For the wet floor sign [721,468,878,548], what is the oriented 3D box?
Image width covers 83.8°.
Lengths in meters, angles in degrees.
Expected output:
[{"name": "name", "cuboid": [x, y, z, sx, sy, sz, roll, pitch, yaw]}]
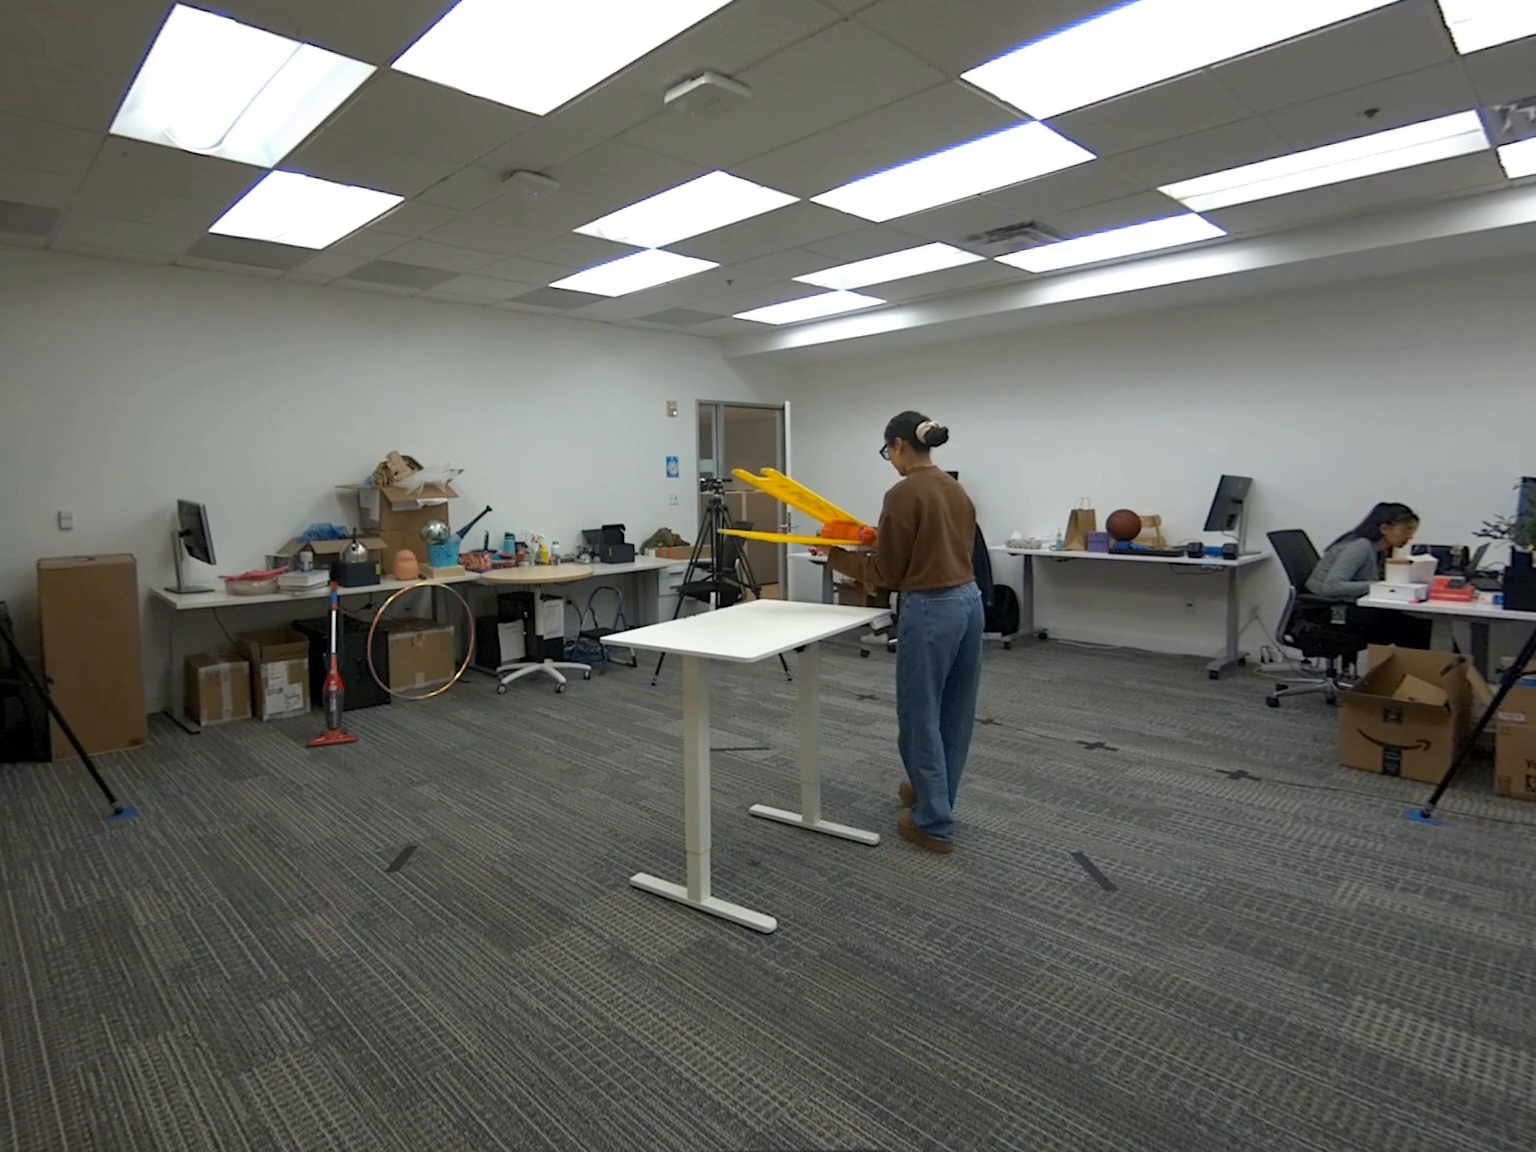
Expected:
[{"name": "wet floor sign", "cuboid": [0.177, -0.200, 3.297, 0.626, 0.290, 0.290, 13, -3, -32]}]
